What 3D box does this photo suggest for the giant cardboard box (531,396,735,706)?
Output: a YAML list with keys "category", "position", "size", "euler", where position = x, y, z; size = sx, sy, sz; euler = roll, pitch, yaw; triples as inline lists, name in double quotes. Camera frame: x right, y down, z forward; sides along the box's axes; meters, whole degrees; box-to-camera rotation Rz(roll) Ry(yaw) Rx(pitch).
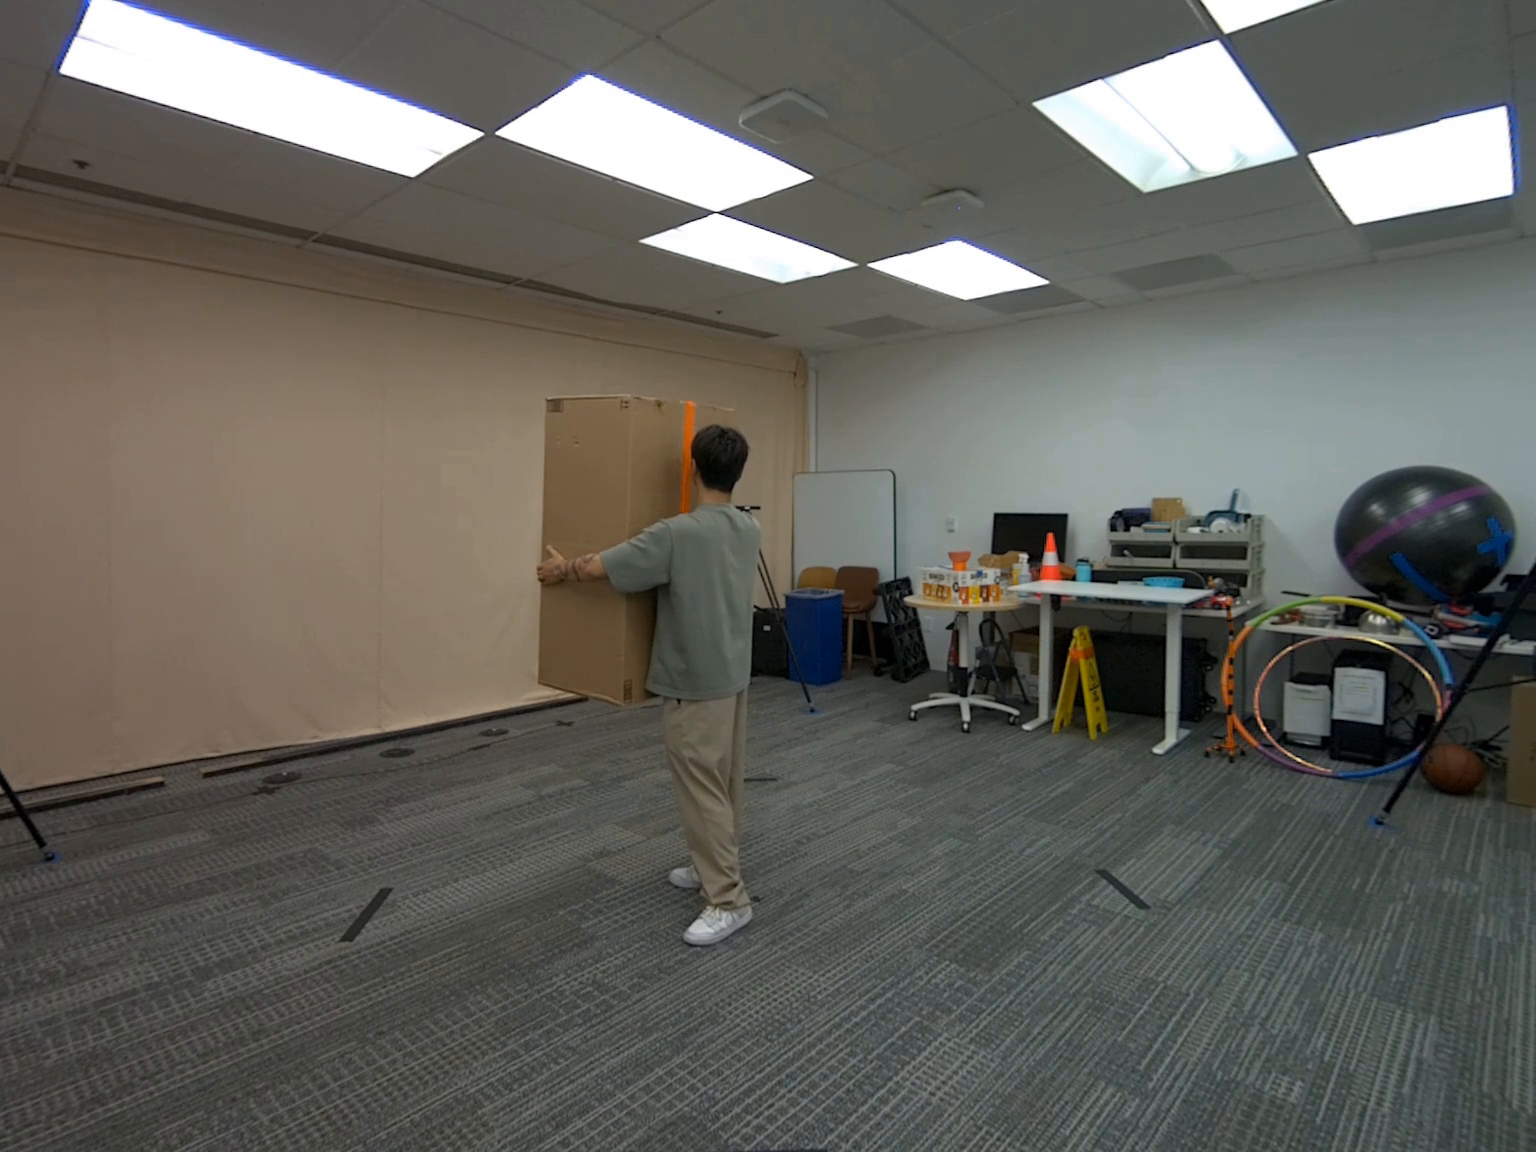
- category: "giant cardboard box"
  position: [-0.473, -0.118, 3.091]
  size: [0.440, 1.023, 0.560]
  euler: [6, 6, 36]
